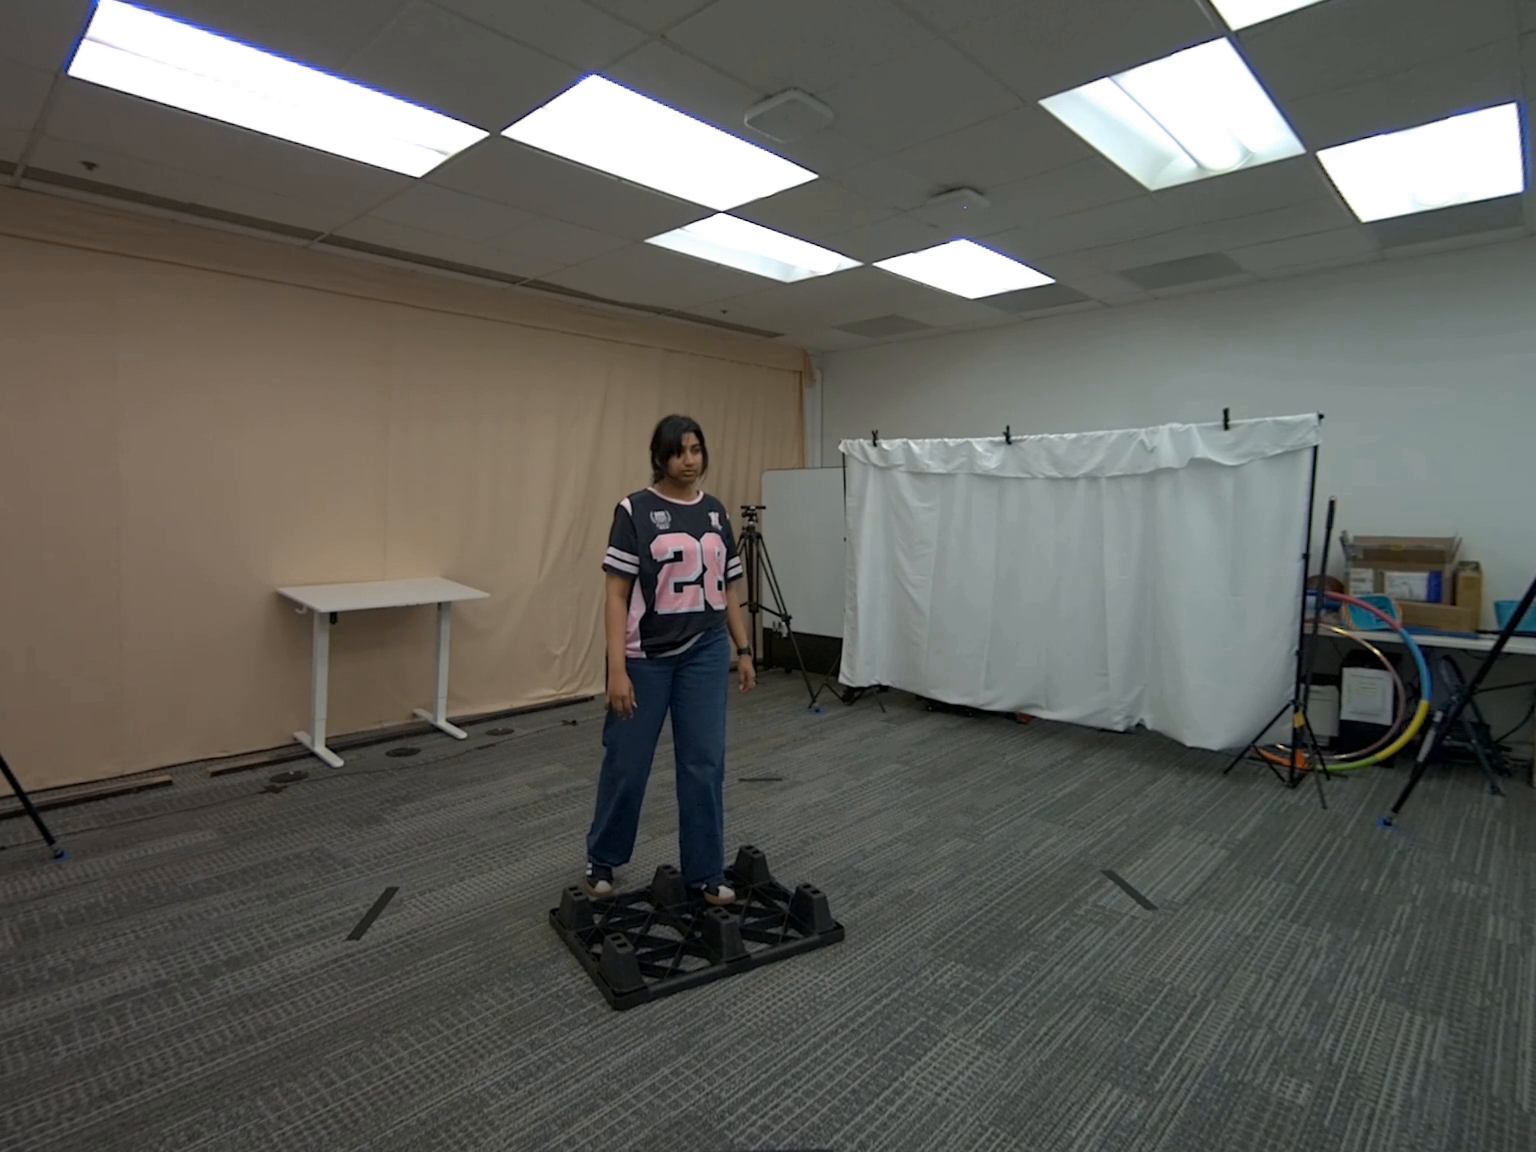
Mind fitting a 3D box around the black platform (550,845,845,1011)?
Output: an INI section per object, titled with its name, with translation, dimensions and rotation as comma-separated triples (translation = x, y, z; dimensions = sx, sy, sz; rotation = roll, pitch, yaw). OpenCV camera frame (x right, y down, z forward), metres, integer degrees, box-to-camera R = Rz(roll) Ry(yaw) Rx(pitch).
[black platform]
translation = -0.235, 1.100, 2.766
dimensions = 0.784, 0.143, 0.623
rotation = -3, 6, -31
